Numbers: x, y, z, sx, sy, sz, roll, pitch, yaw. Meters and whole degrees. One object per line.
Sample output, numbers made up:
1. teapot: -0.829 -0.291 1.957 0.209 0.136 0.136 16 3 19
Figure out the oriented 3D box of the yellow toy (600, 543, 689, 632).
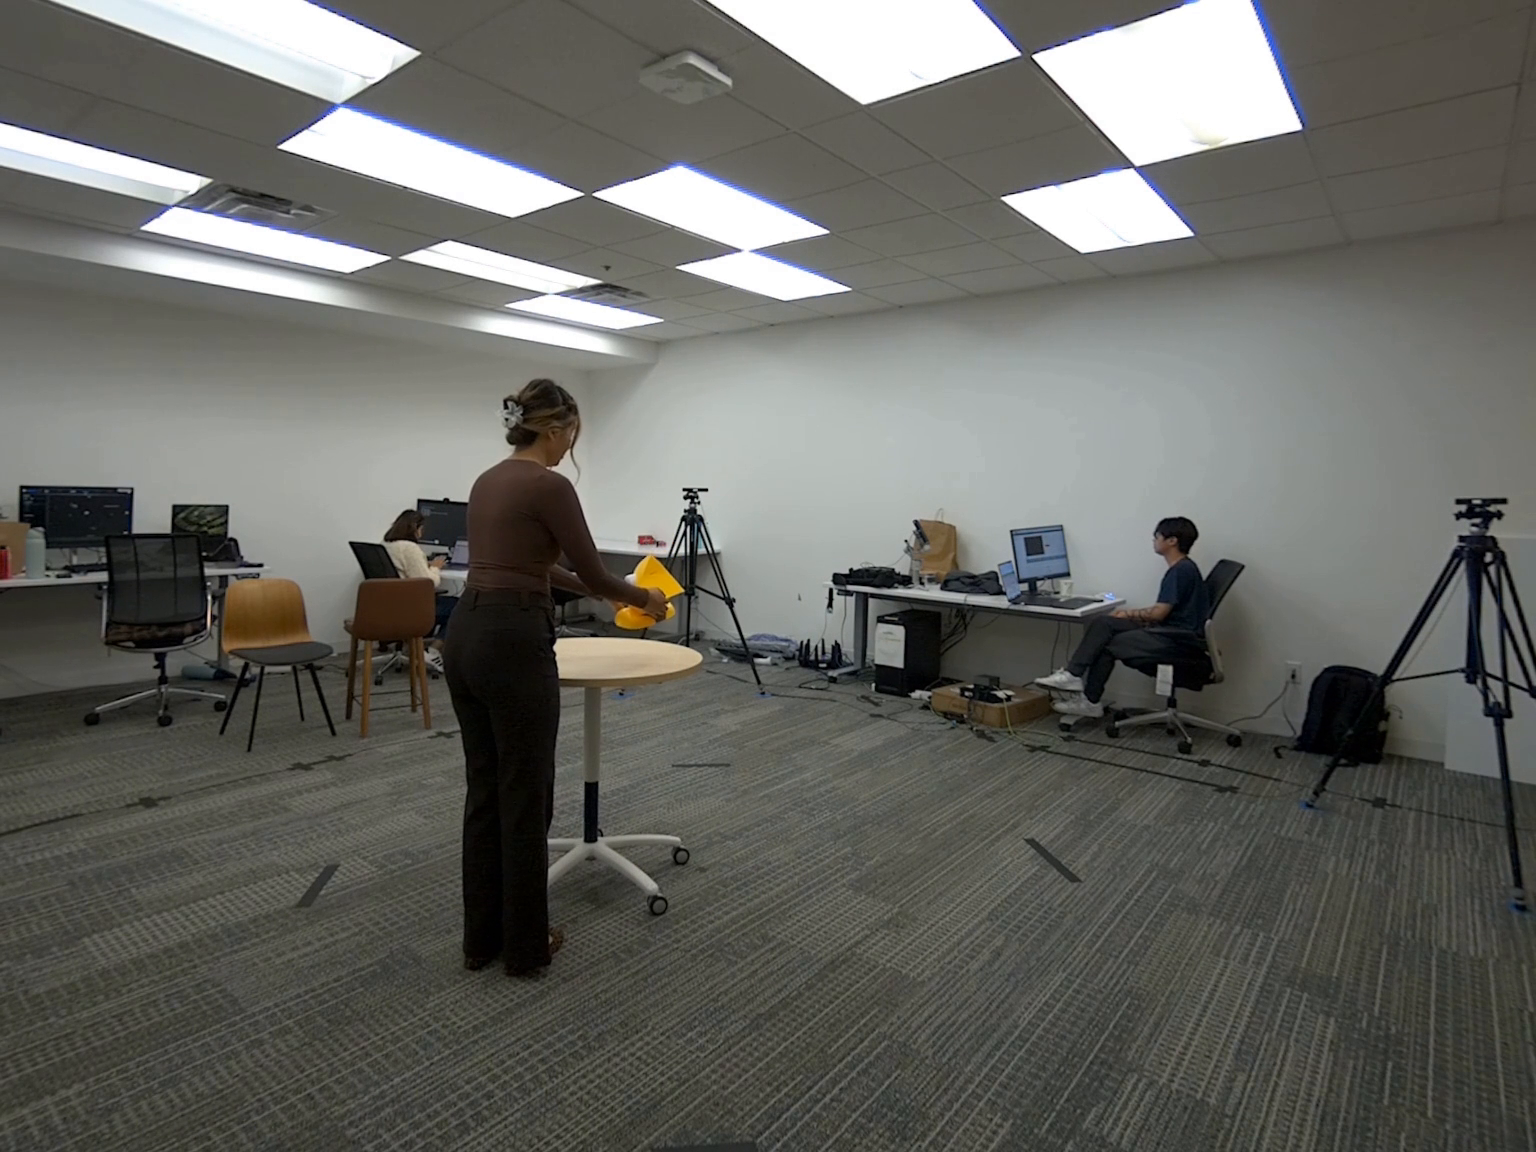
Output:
1. yellow toy: -0.428 0.031 2.852 0.200 0.227 0.201 5 18 42
